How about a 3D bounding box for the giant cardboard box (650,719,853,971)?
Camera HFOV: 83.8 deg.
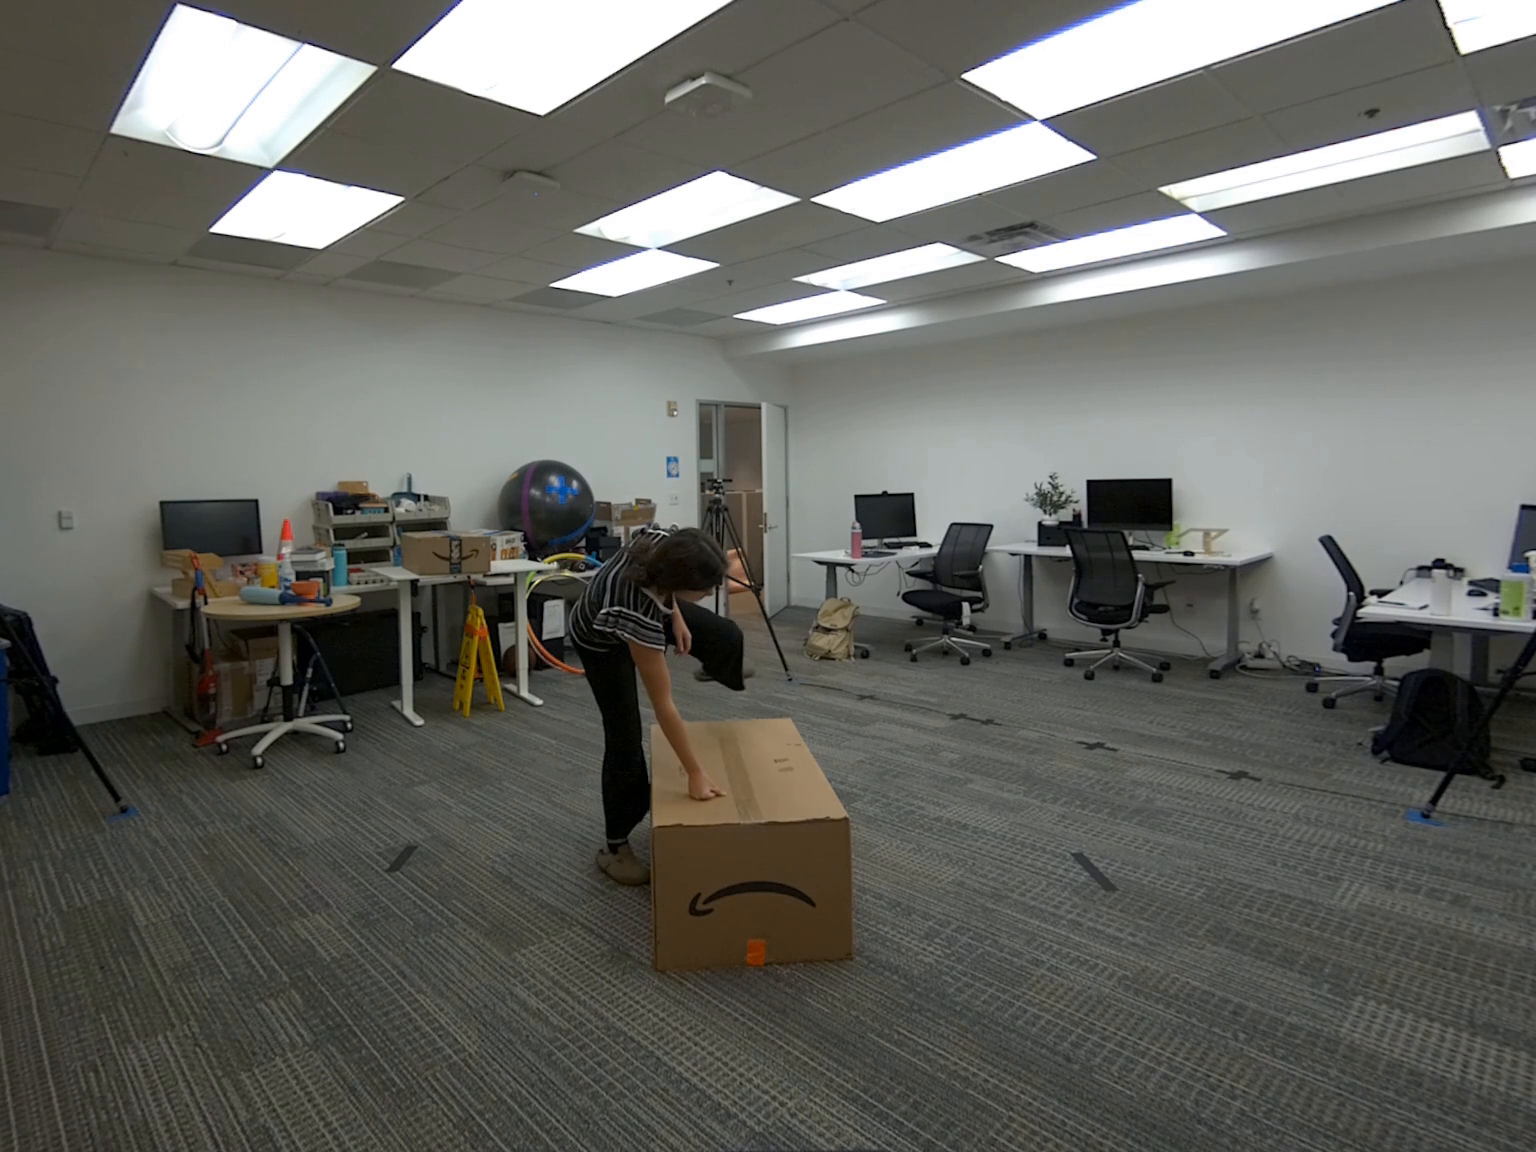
[{"bbox_3d":[-0.108,0.855,2.946,0.574,0.424,1.037,-2,6,-7],"label":"giant cardboard box"}]
